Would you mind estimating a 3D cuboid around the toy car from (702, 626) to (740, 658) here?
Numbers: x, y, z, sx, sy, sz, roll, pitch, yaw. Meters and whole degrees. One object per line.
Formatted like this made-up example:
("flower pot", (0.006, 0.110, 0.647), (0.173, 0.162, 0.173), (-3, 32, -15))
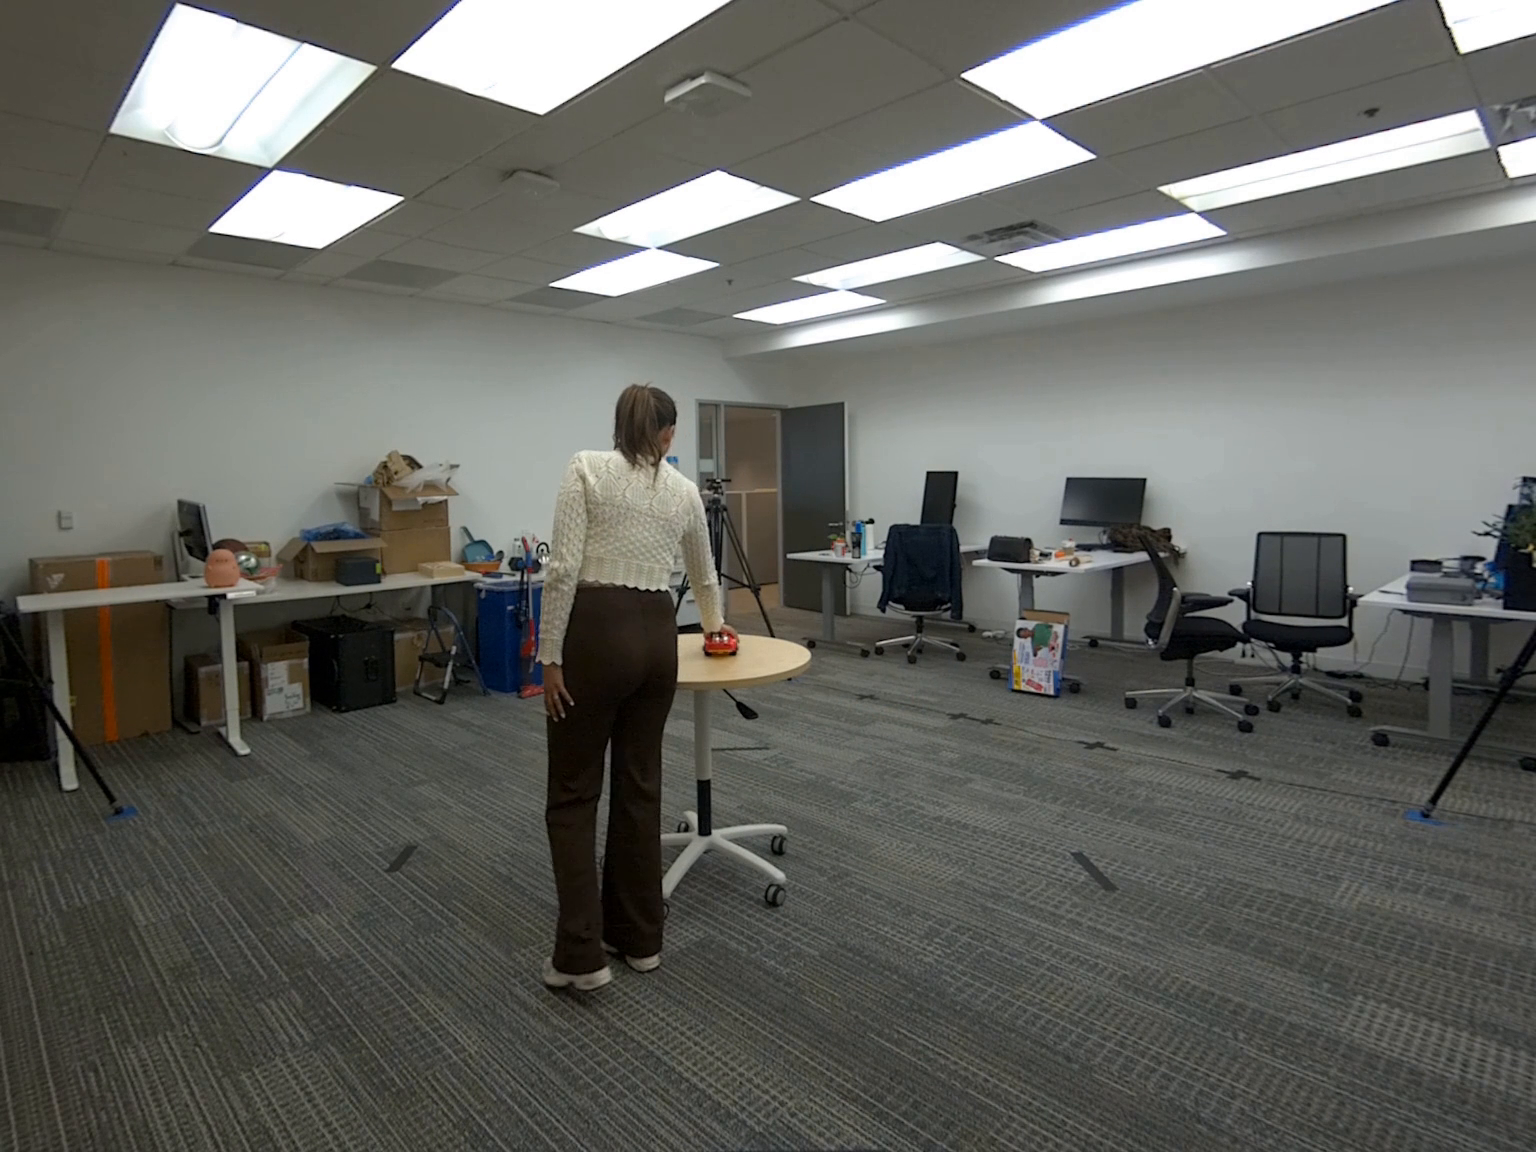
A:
("toy car", (-0.165, 0.236, 3.023), (0.130, 0.083, 0.253), (0, -4, 1))
